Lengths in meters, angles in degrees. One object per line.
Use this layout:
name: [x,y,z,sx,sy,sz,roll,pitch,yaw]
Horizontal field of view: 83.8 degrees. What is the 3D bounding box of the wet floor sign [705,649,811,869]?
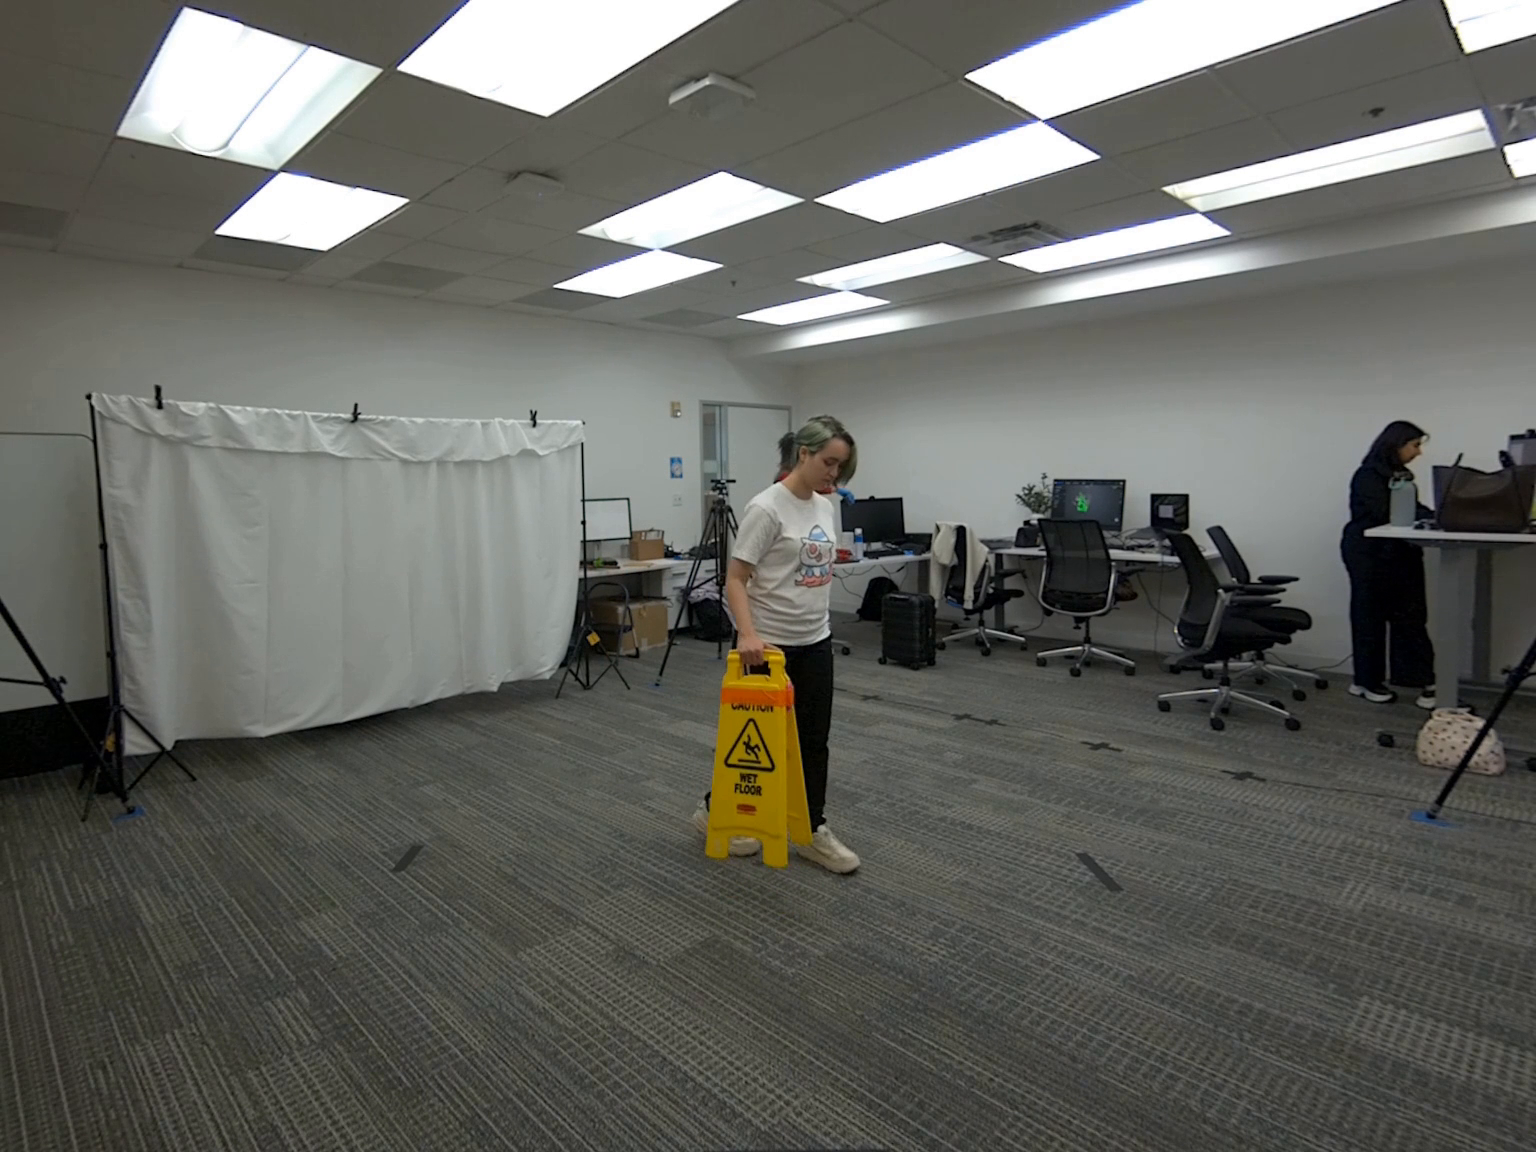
wet floor sign: [-0.030,0.576,2.793,0.288,0.647,0.283,-4,-1,24]
